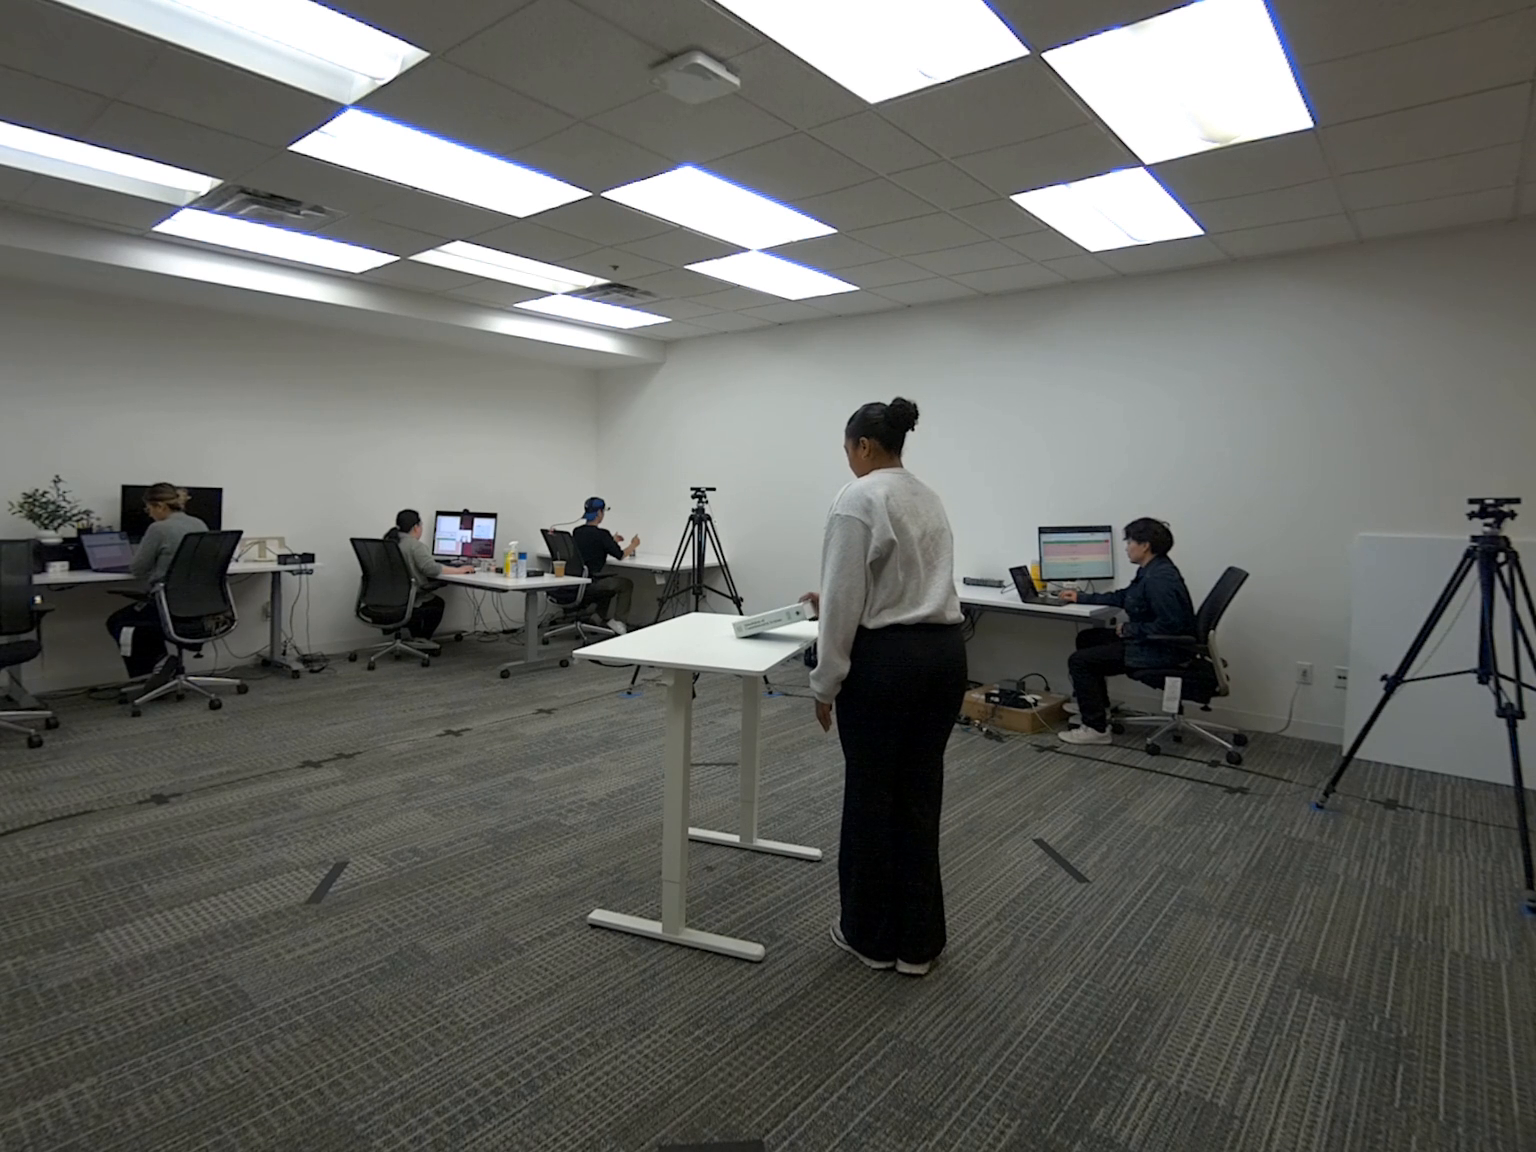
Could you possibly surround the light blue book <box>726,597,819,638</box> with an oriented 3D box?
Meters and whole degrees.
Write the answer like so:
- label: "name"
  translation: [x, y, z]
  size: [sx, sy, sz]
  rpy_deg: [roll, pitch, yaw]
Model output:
- label: "light blue book"
  translation: [0.016, 0.141, 2.920]
  size: [0.265, 0.059, 0.187]
  rpy_deg: [-15, 0, 24]
